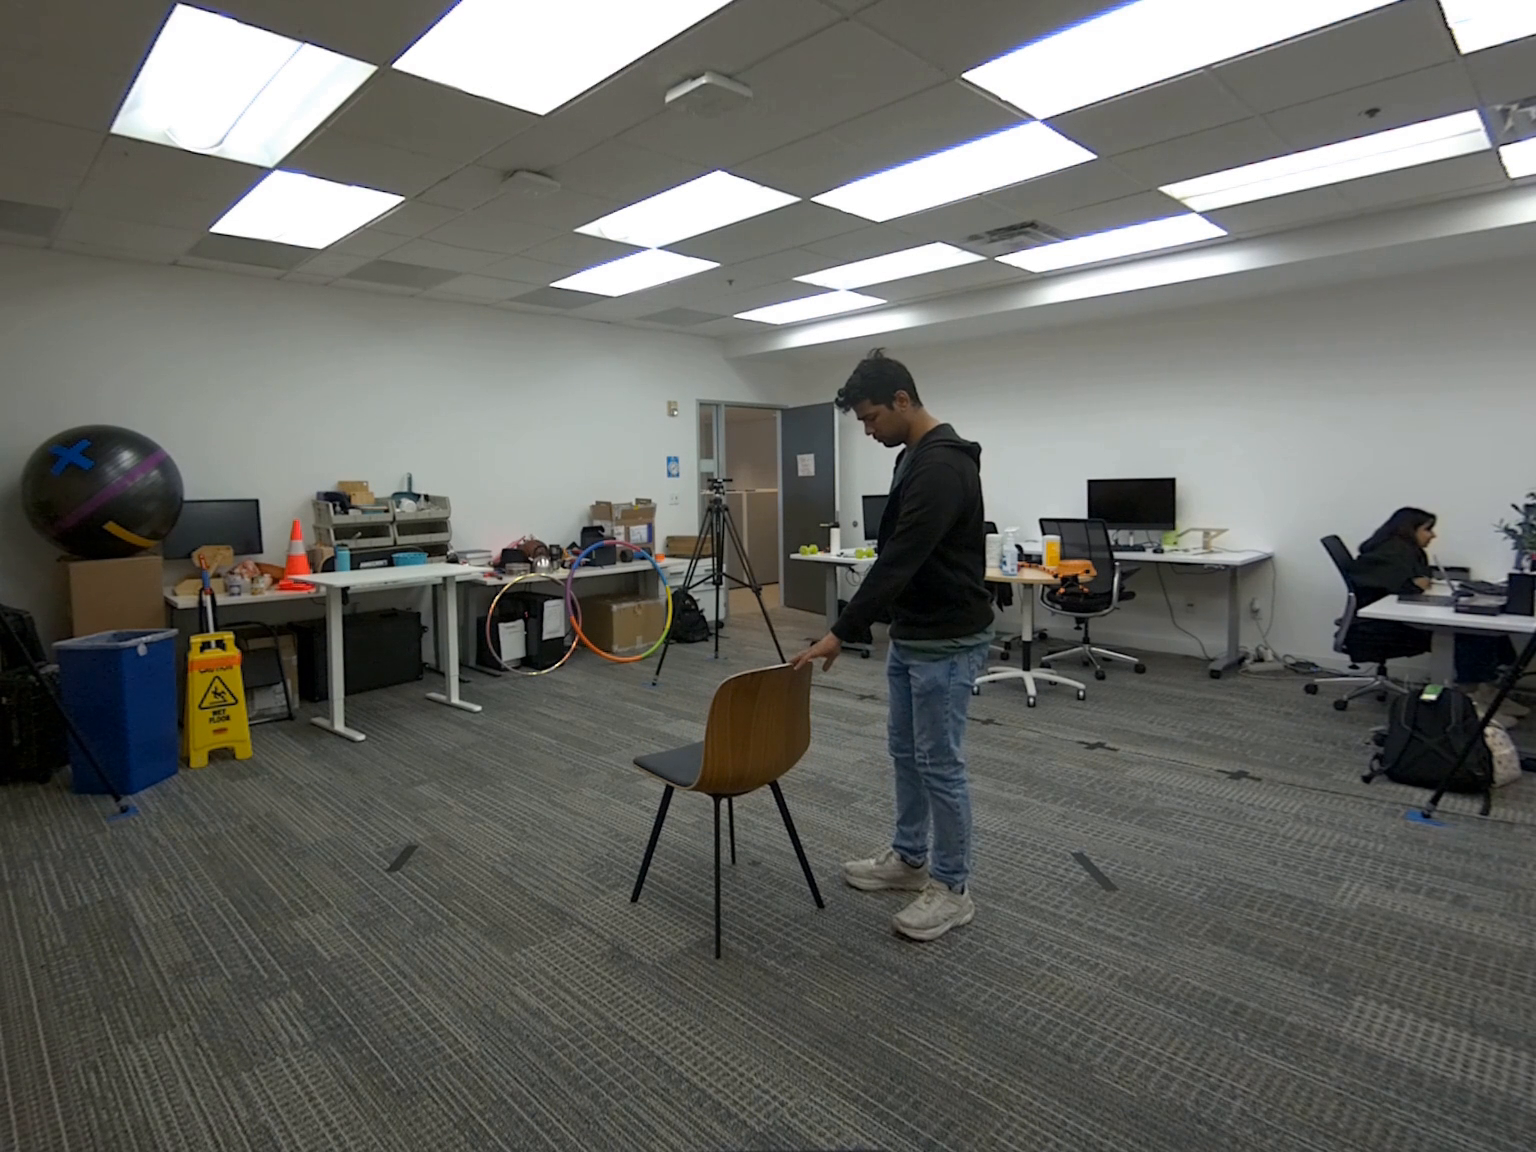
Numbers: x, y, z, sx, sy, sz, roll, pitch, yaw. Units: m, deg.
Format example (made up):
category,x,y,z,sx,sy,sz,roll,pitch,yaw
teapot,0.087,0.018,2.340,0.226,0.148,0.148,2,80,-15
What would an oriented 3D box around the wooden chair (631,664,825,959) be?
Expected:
category,x,y,z,sx,sy,sz,roll,pitch,yaw
wooden chair,-0.142,0.658,2.774,0.465,0.871,0.541,-5,11,-41
